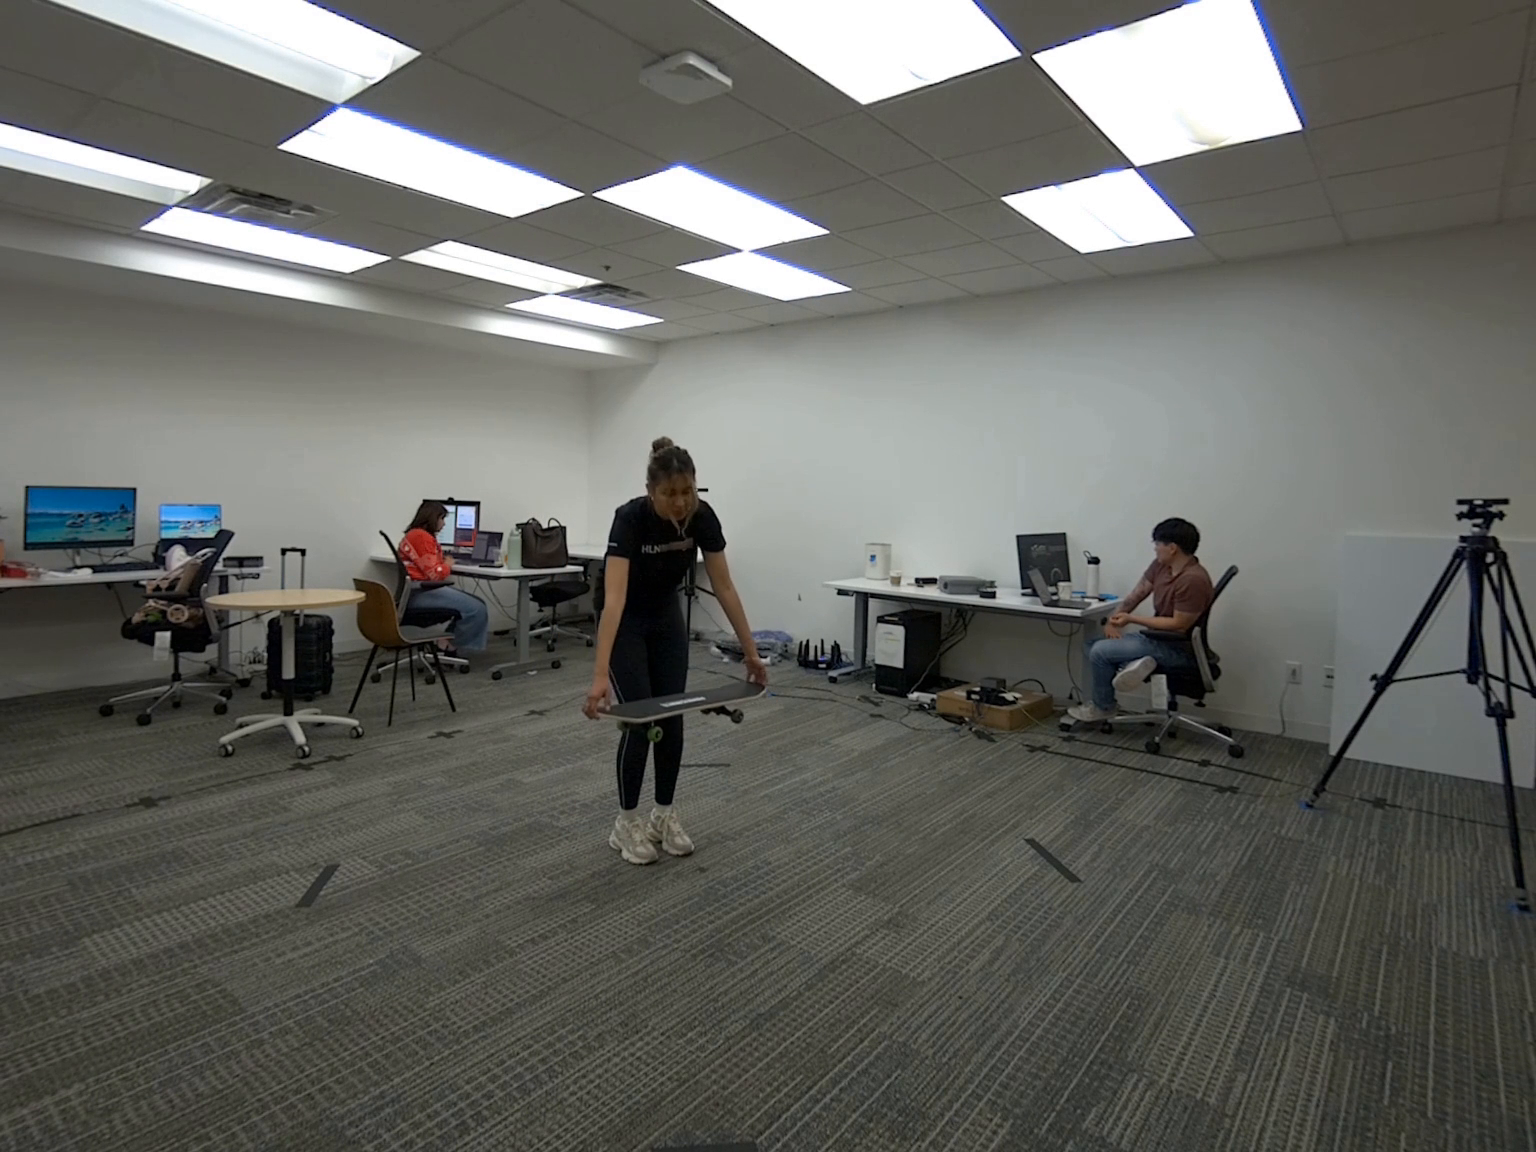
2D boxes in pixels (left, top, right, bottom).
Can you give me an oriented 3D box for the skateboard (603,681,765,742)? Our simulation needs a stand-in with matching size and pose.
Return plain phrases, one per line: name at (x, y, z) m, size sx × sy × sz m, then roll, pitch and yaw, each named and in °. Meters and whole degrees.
skateboard at (-0.302, 0.471, 2.939) m, size 0.200 × 0.110 × 0.761 m, roll 6°, pitch 5°, yaw 41°
